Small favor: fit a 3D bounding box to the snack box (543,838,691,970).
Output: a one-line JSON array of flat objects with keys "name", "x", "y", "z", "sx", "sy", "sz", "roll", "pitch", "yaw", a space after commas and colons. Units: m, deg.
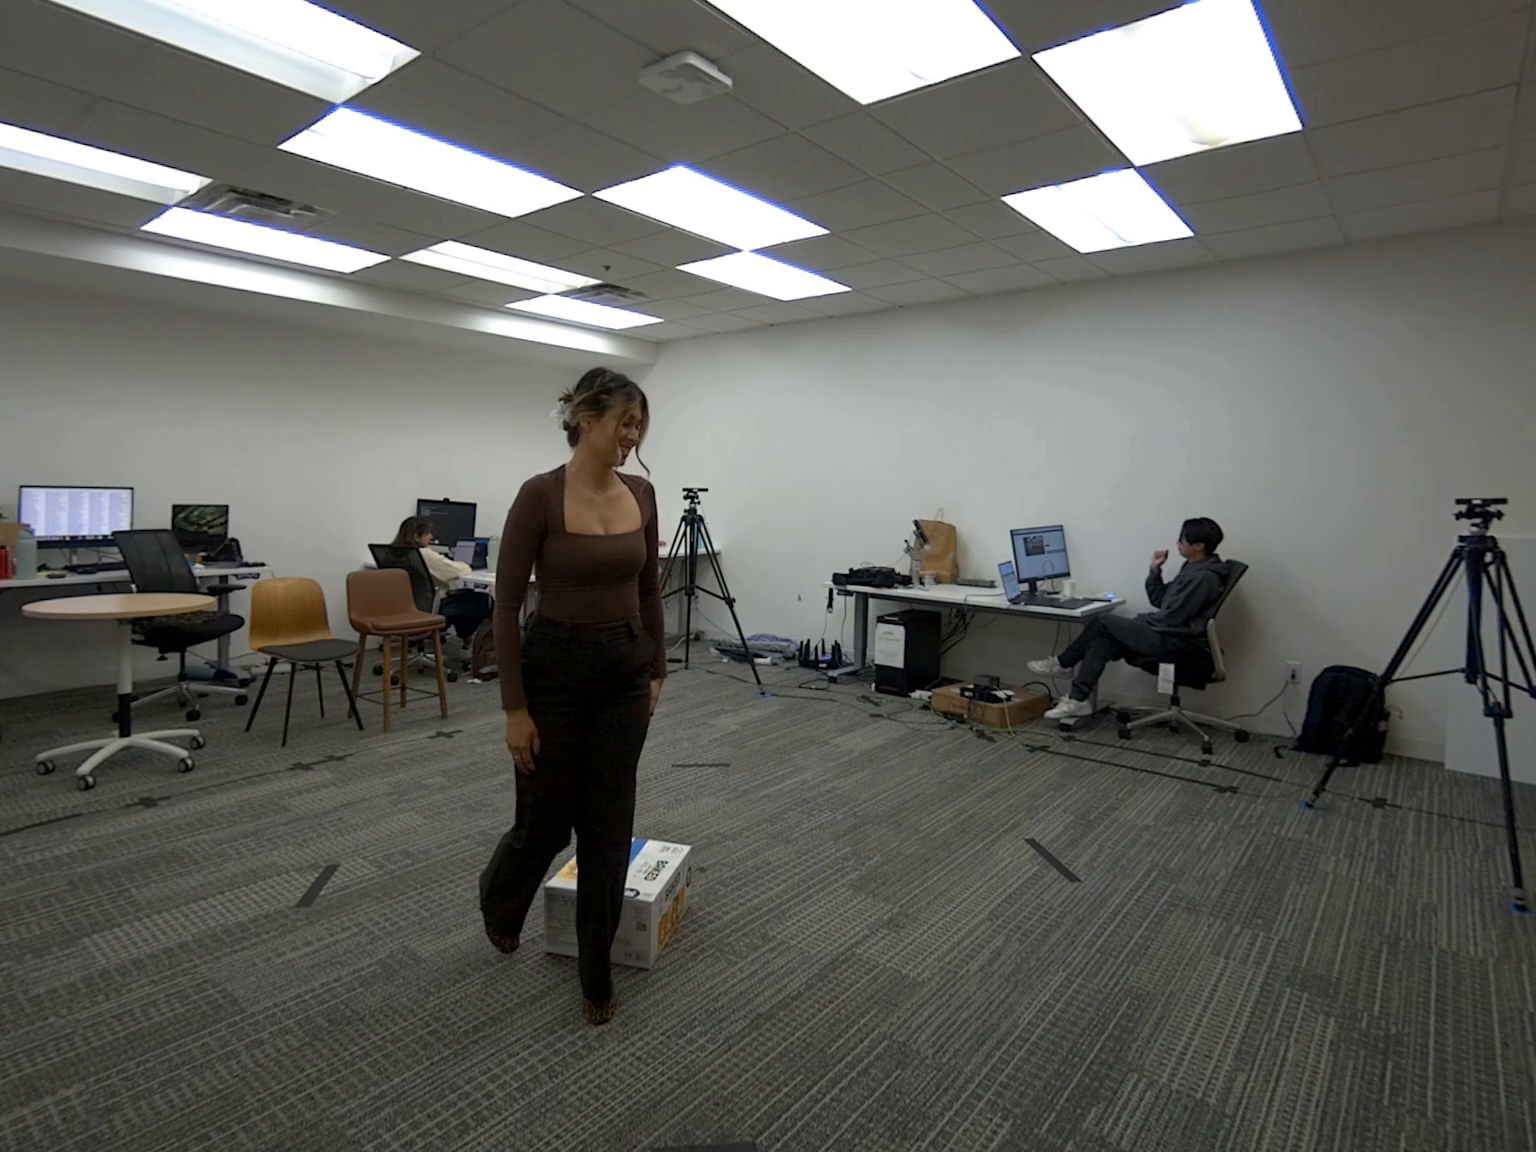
[{"name": "snack box", "x": -0.468, "y": 1.005, "z": 2.673, "sx": 0.345, "sy": 0.205, "sz": 0.401, "roll": 2, "pitch": 5, "yaw": 13}]
